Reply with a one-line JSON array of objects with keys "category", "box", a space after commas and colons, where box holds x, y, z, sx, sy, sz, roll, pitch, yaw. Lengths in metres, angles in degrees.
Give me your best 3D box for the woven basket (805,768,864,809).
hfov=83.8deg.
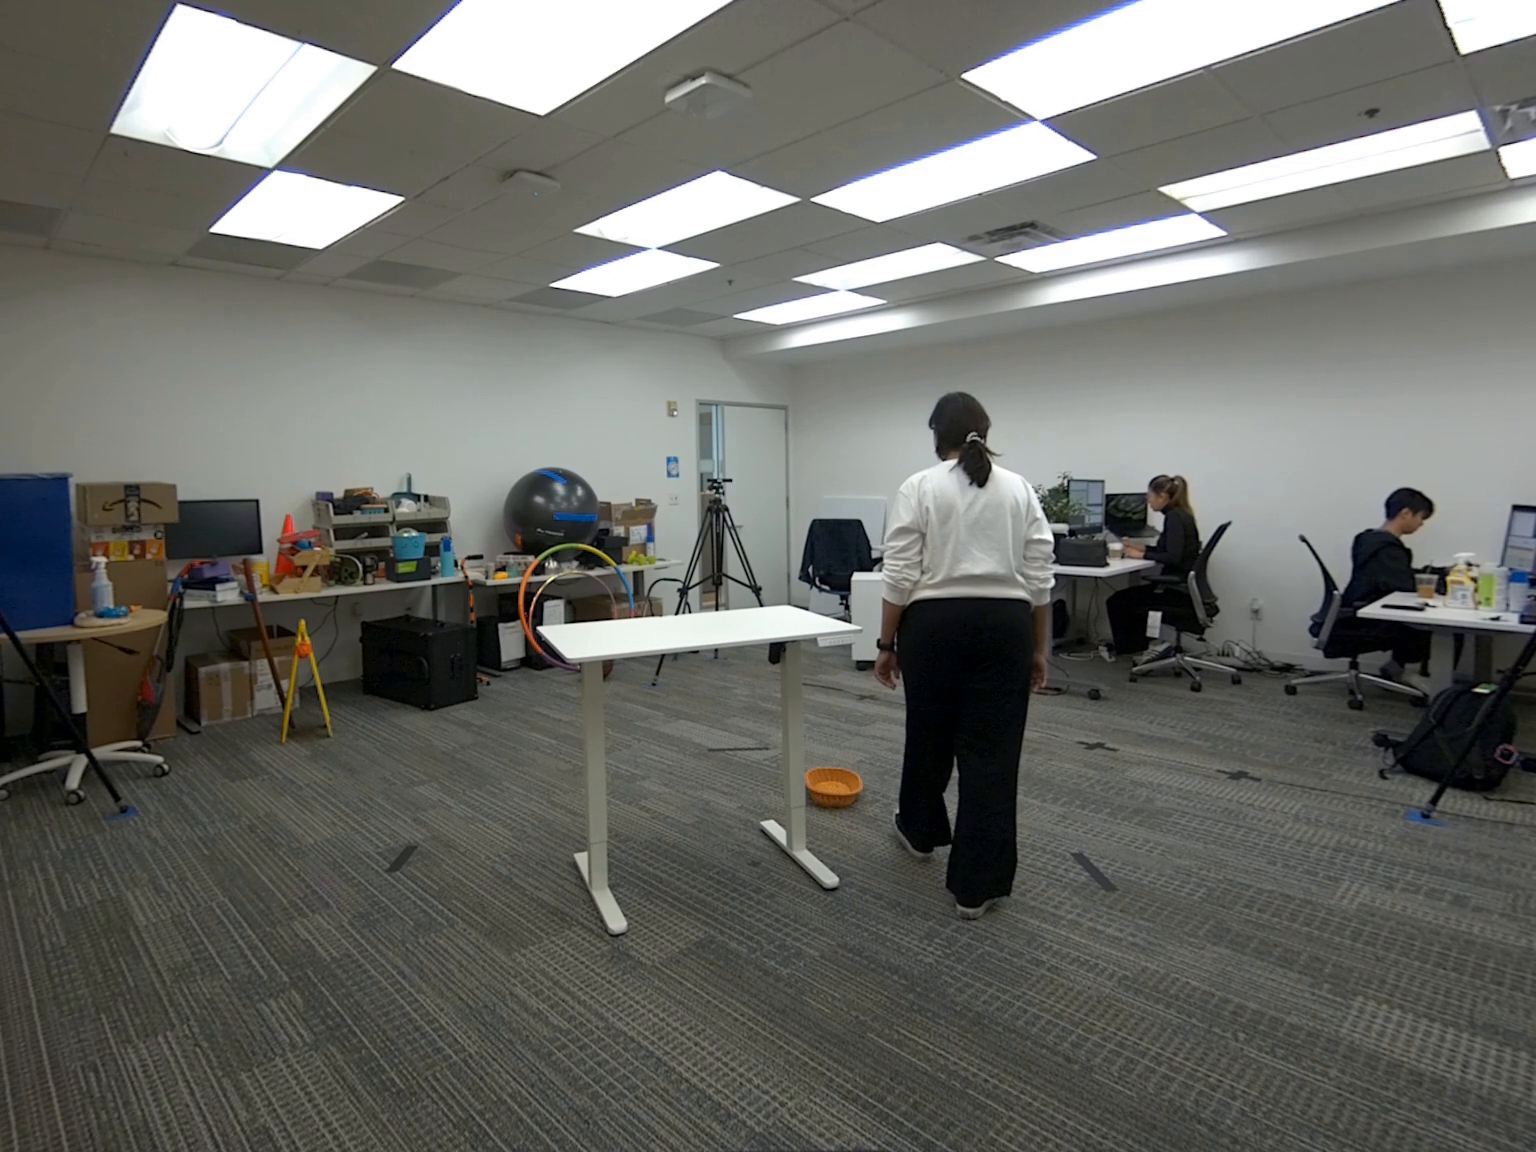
[{"category": "woven basket", "box": [0.284, 0.926, 3.761, 0.253, 0.073, 0.350, 1, 6, 3]}]
